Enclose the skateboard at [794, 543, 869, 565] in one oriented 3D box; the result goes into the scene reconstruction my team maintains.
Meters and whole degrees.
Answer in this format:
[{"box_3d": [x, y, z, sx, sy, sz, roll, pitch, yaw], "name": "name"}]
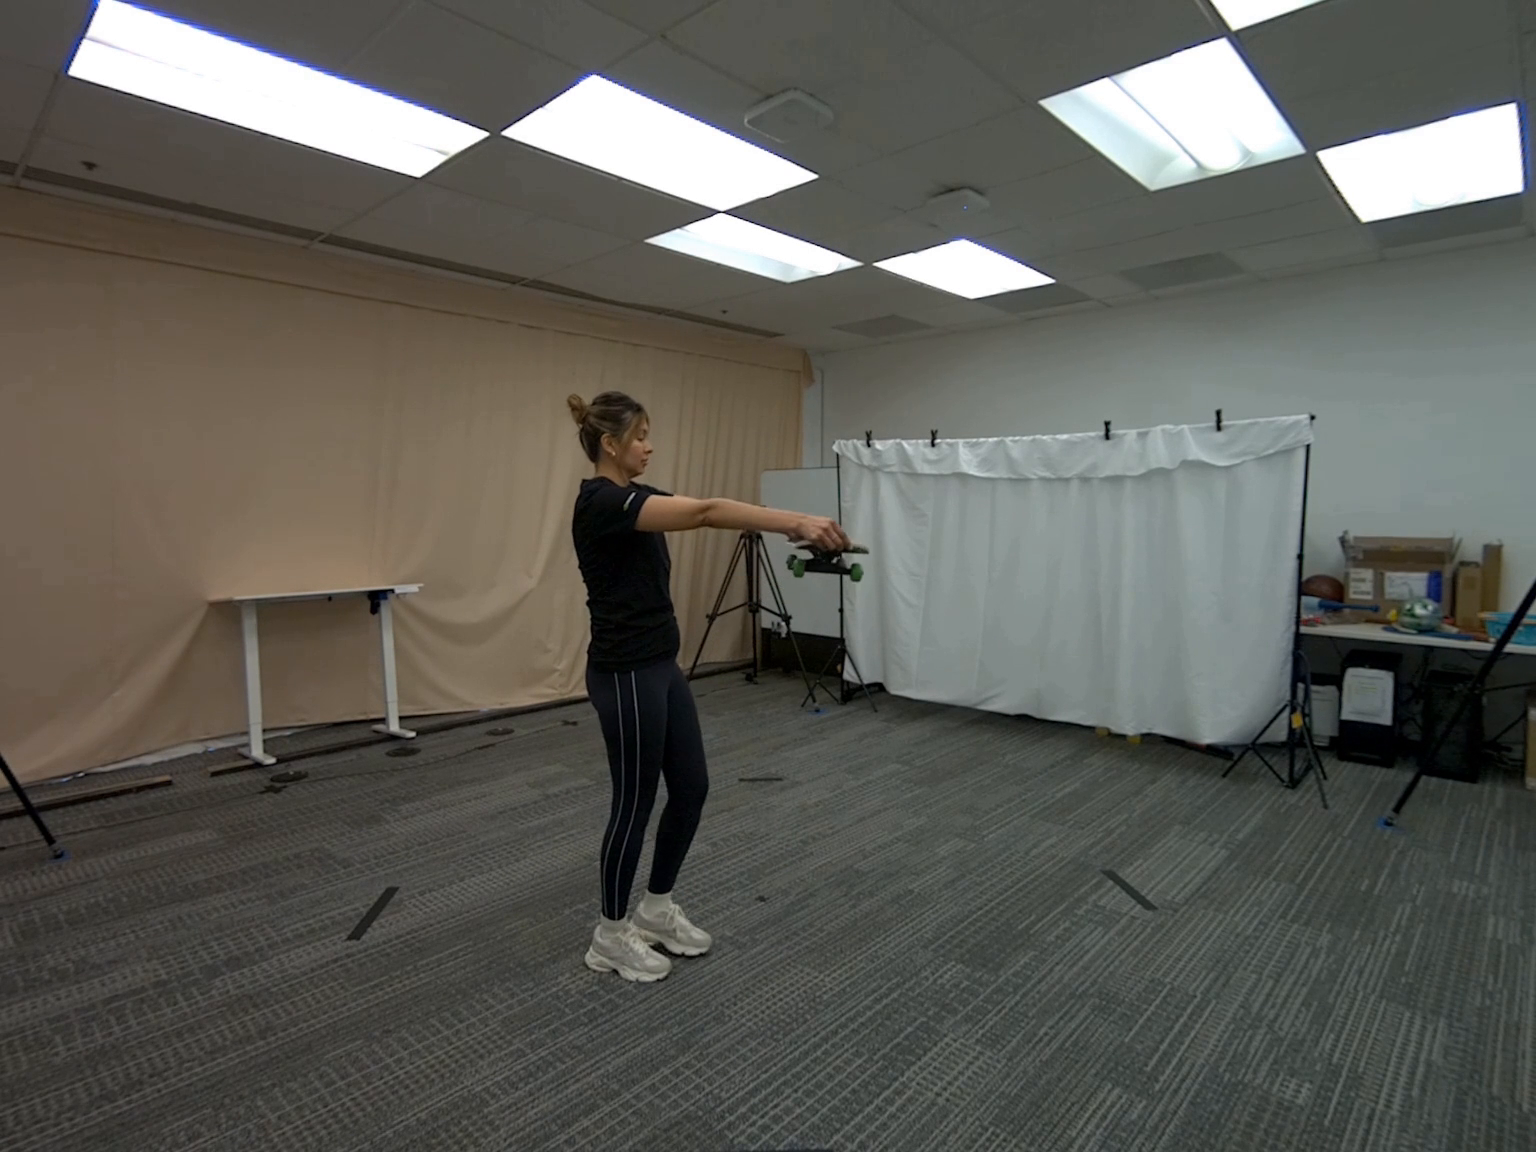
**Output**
[{"box_3d": [0.150, -0.052, 2.452, 0.193, 0.110, 0.787, 4, 3, -3], "name": "skateboard"}]
